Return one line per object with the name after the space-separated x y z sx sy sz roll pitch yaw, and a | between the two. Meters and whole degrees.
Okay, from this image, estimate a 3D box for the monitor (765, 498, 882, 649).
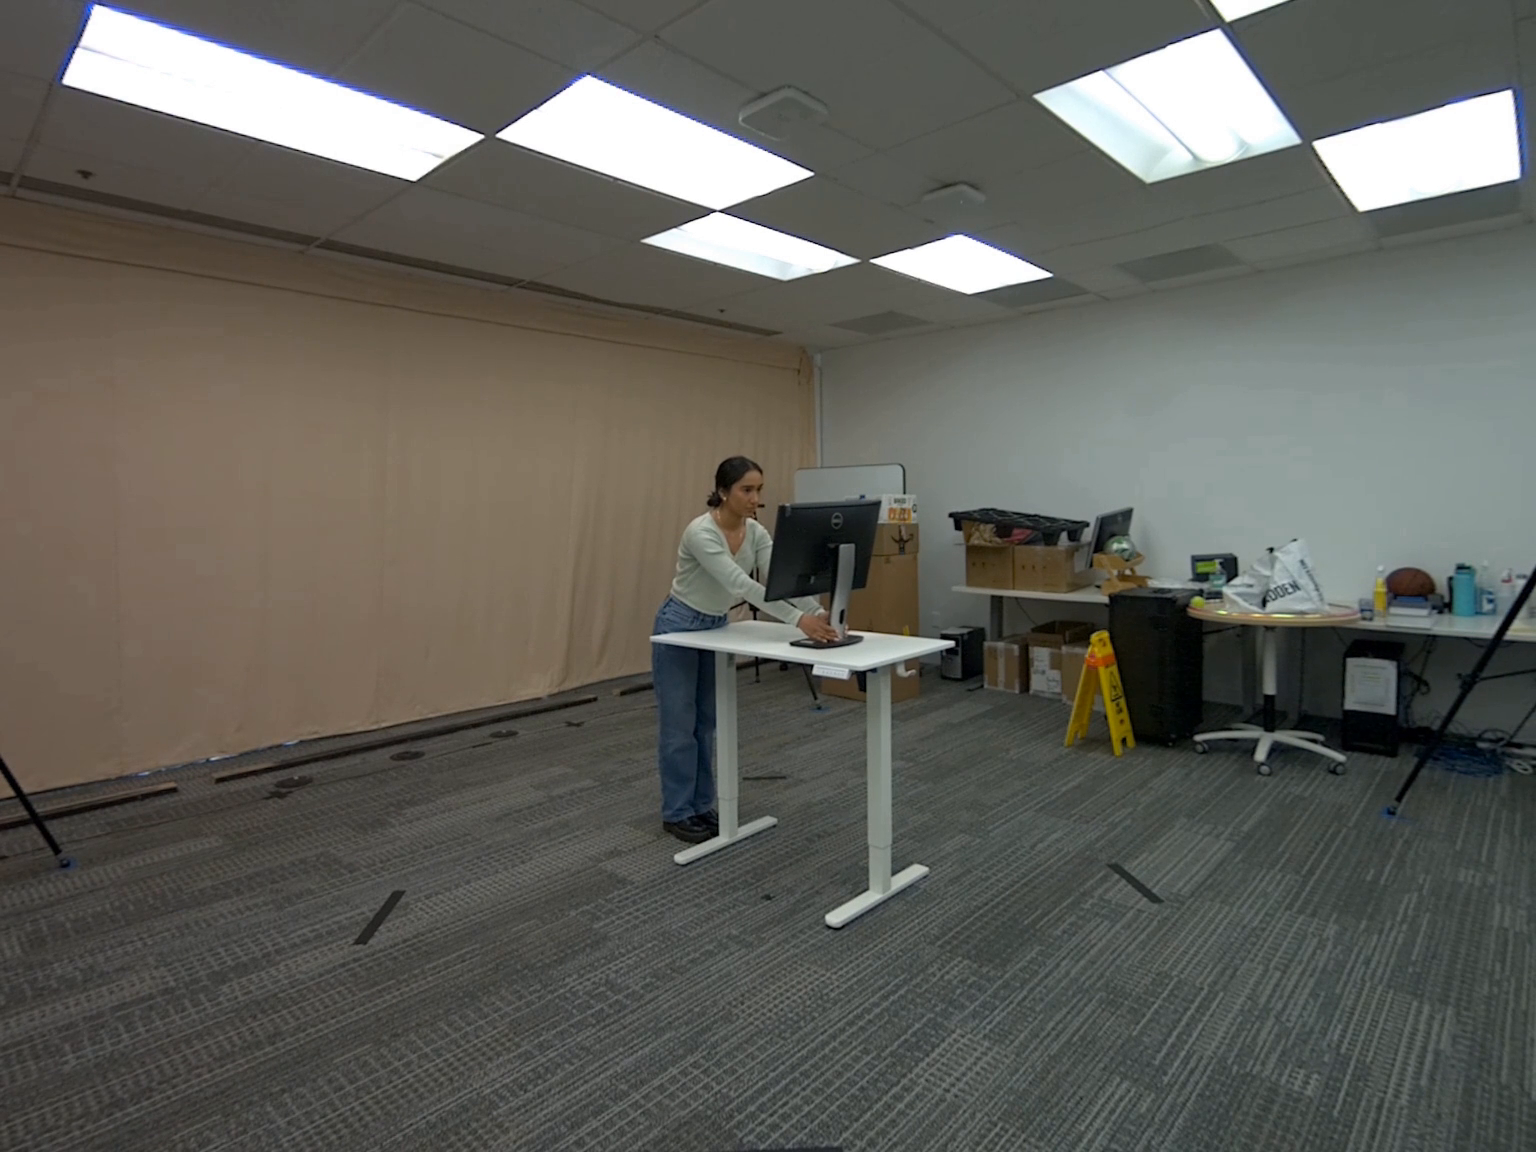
0.226 -0.009 3.051 0.523 0.521 0.193 -5 6 -41 | monitor
